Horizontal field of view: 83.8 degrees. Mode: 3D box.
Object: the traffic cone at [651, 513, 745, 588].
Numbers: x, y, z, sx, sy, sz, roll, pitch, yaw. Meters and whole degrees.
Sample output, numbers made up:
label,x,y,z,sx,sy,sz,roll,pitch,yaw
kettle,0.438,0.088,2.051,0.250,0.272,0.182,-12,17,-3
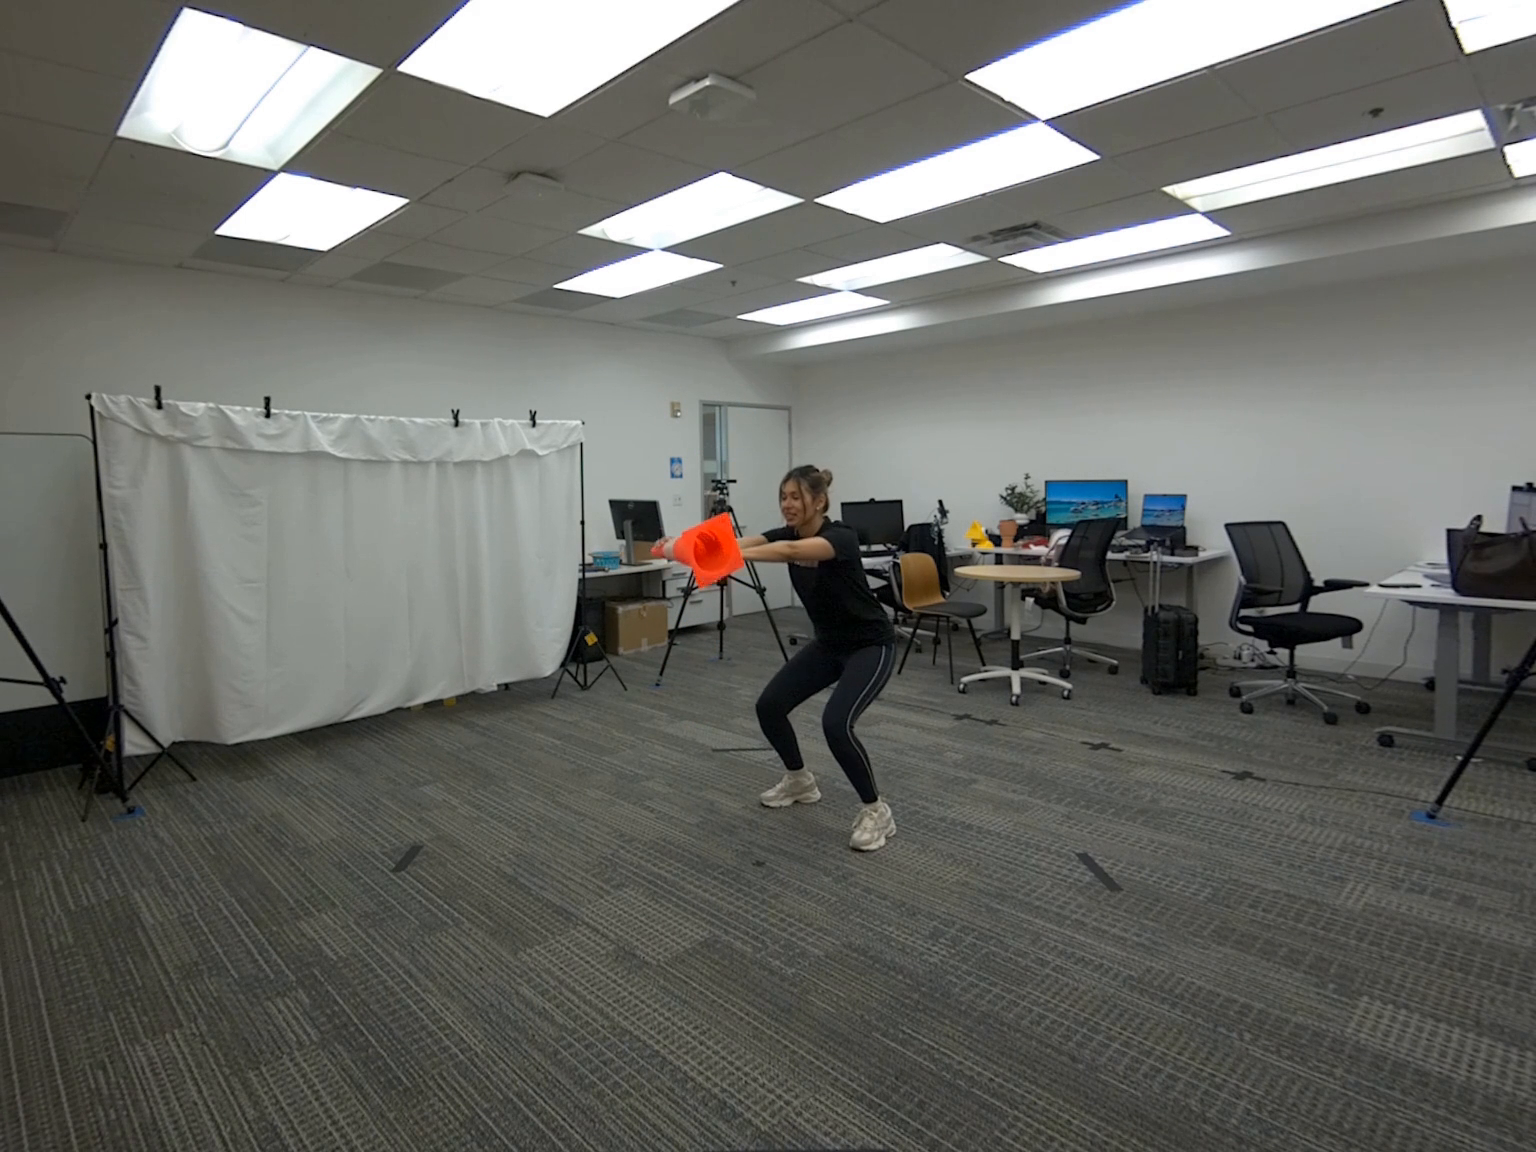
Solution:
label,x,y,z,sx,sy,sz,roll,pitch,yaw
traffic cone,-0.287,-0.090,2.983,0.201,0.202,0.394,-27,15,-32
